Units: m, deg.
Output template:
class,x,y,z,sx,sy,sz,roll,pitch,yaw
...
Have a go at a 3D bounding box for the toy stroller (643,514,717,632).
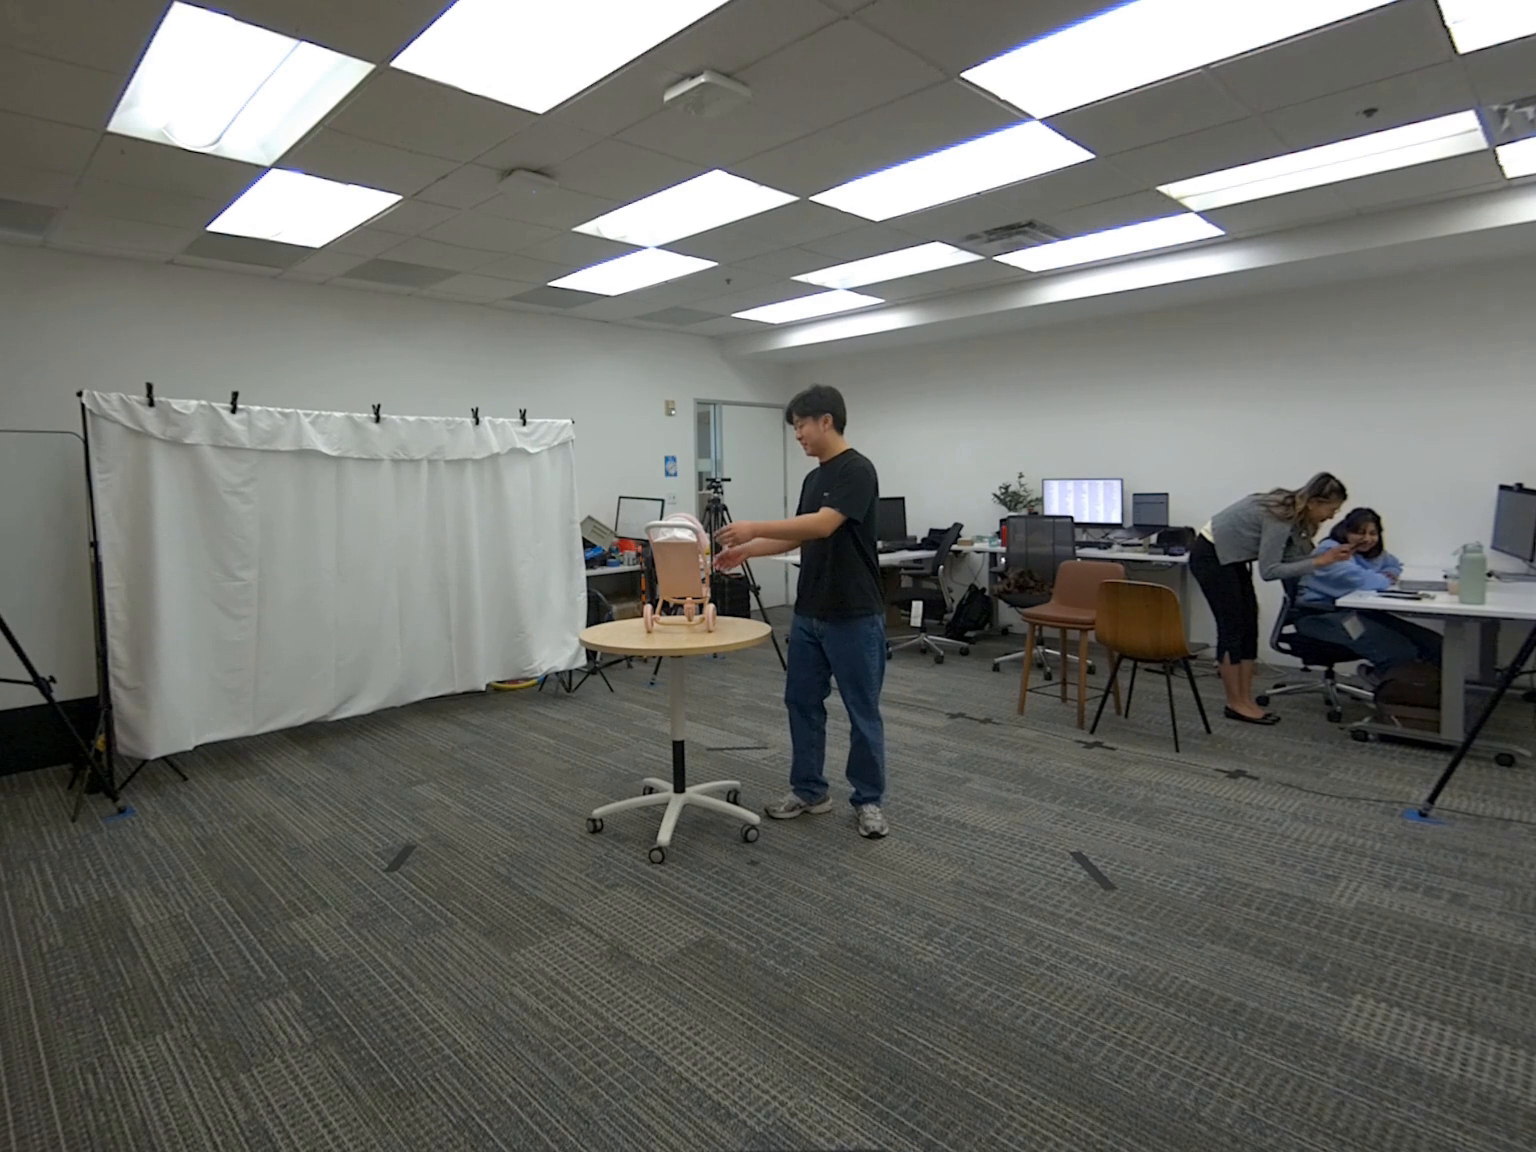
class,x,y,z,sx,sy,sz,roll,pitch,yaw
toy stroller,-0.340,-0.013,3.427,0.284,0.526,0.344,0,19,8
